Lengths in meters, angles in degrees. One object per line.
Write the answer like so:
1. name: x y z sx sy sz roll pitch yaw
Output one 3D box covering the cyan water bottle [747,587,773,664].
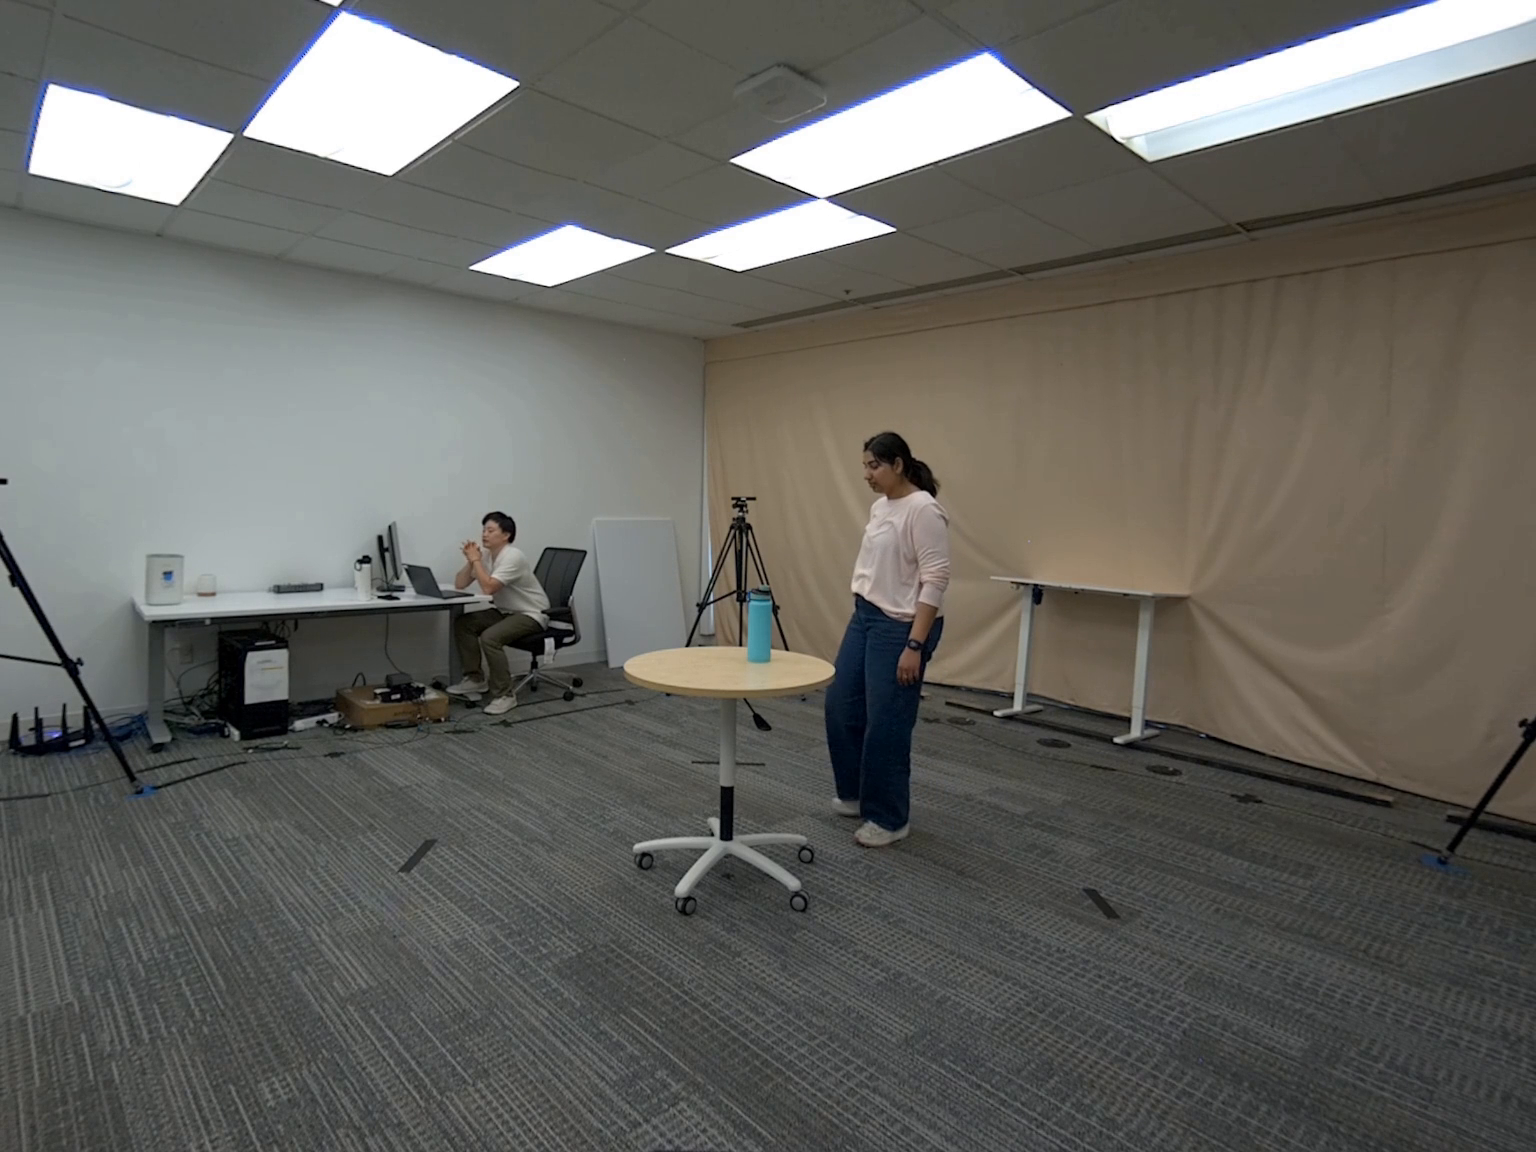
1. cyan water bottle: -0.038 0.179 3.158 0.092 0.283 0.092 2 3 -1
